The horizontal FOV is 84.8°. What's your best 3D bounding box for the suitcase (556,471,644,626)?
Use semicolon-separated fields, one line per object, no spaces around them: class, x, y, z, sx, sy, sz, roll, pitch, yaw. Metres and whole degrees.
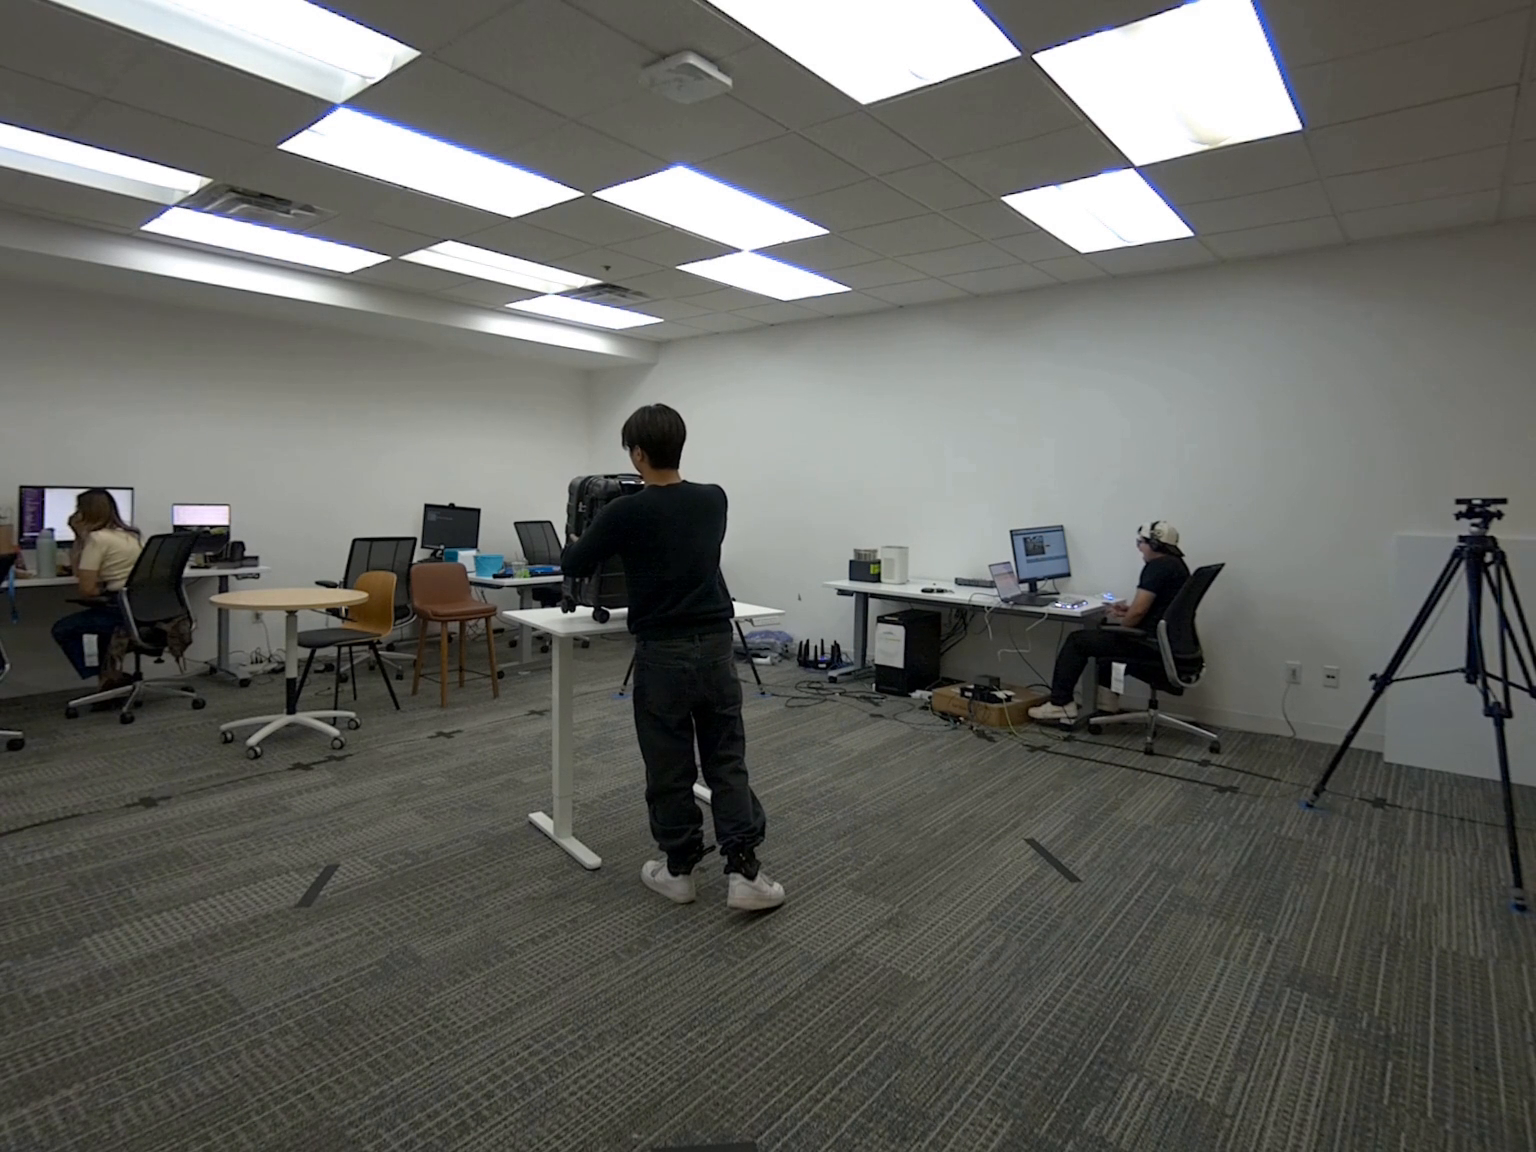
suitcase;-0.599;-0.126;3.297;0.364;0.545;0.257;-5;11;-44
